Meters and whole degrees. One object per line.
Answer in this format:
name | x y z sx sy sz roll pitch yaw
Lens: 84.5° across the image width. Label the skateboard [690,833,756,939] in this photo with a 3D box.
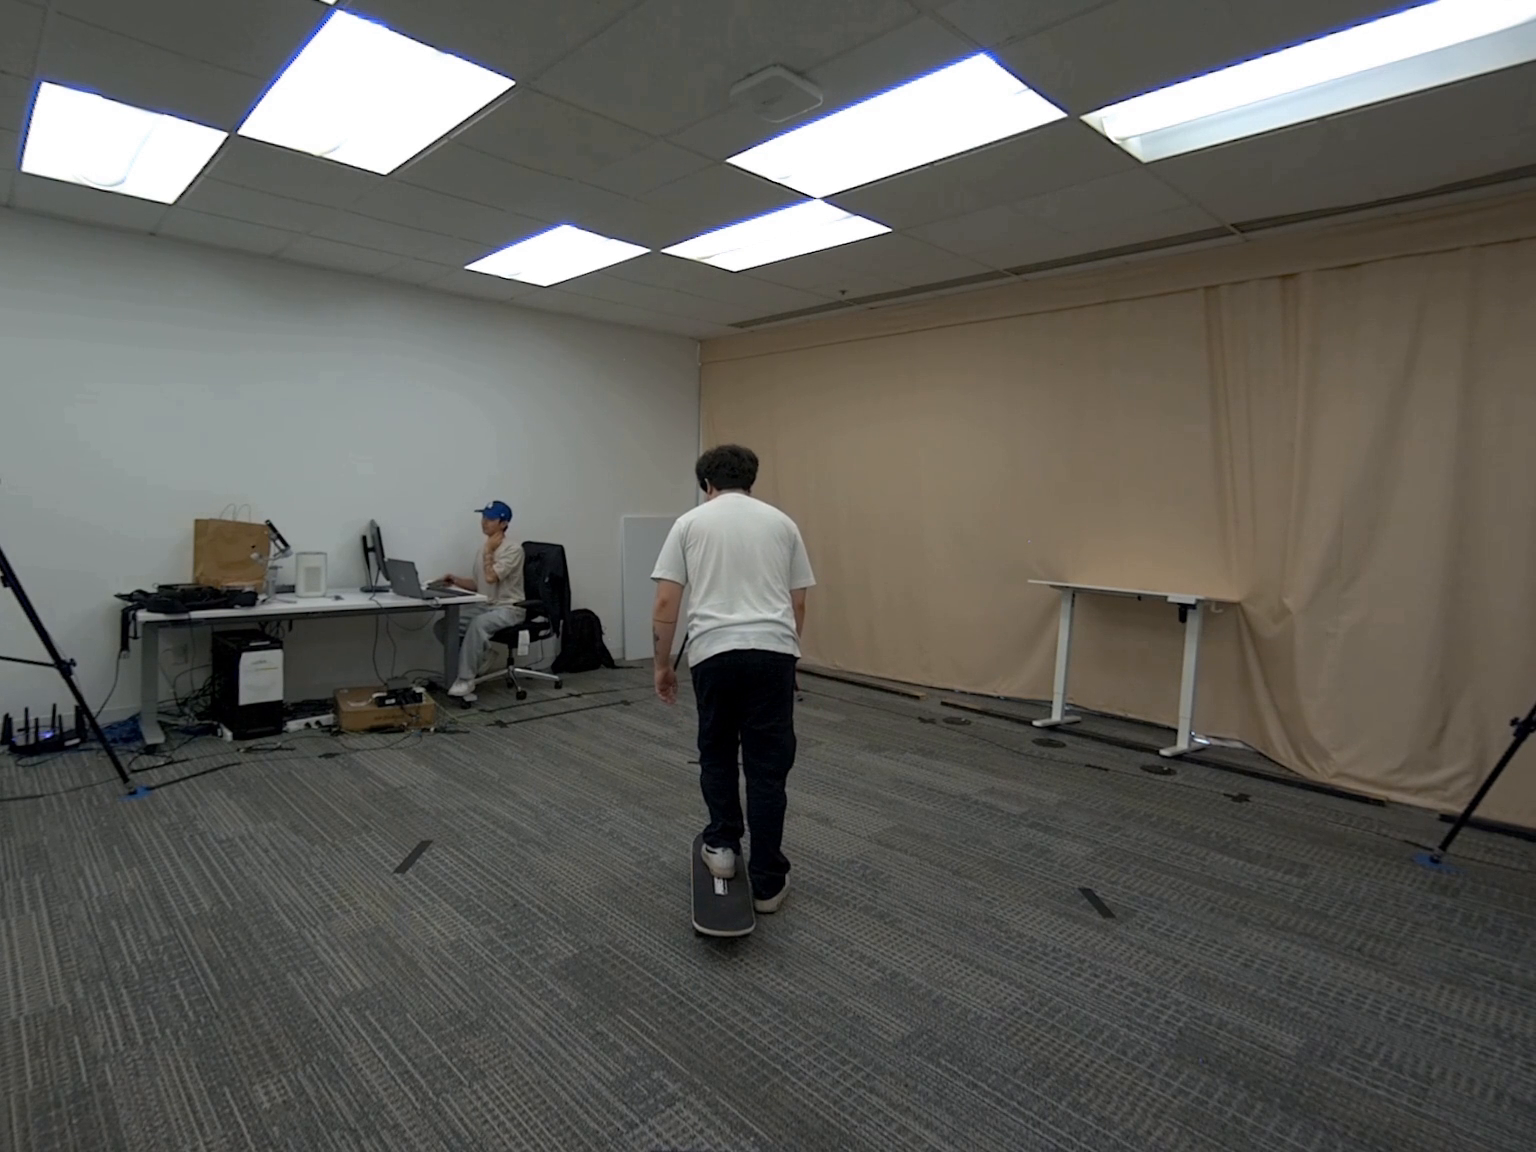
skateboard | -0.167 1.069 2.881 0.193 0.110 0.790 1 5 -5
